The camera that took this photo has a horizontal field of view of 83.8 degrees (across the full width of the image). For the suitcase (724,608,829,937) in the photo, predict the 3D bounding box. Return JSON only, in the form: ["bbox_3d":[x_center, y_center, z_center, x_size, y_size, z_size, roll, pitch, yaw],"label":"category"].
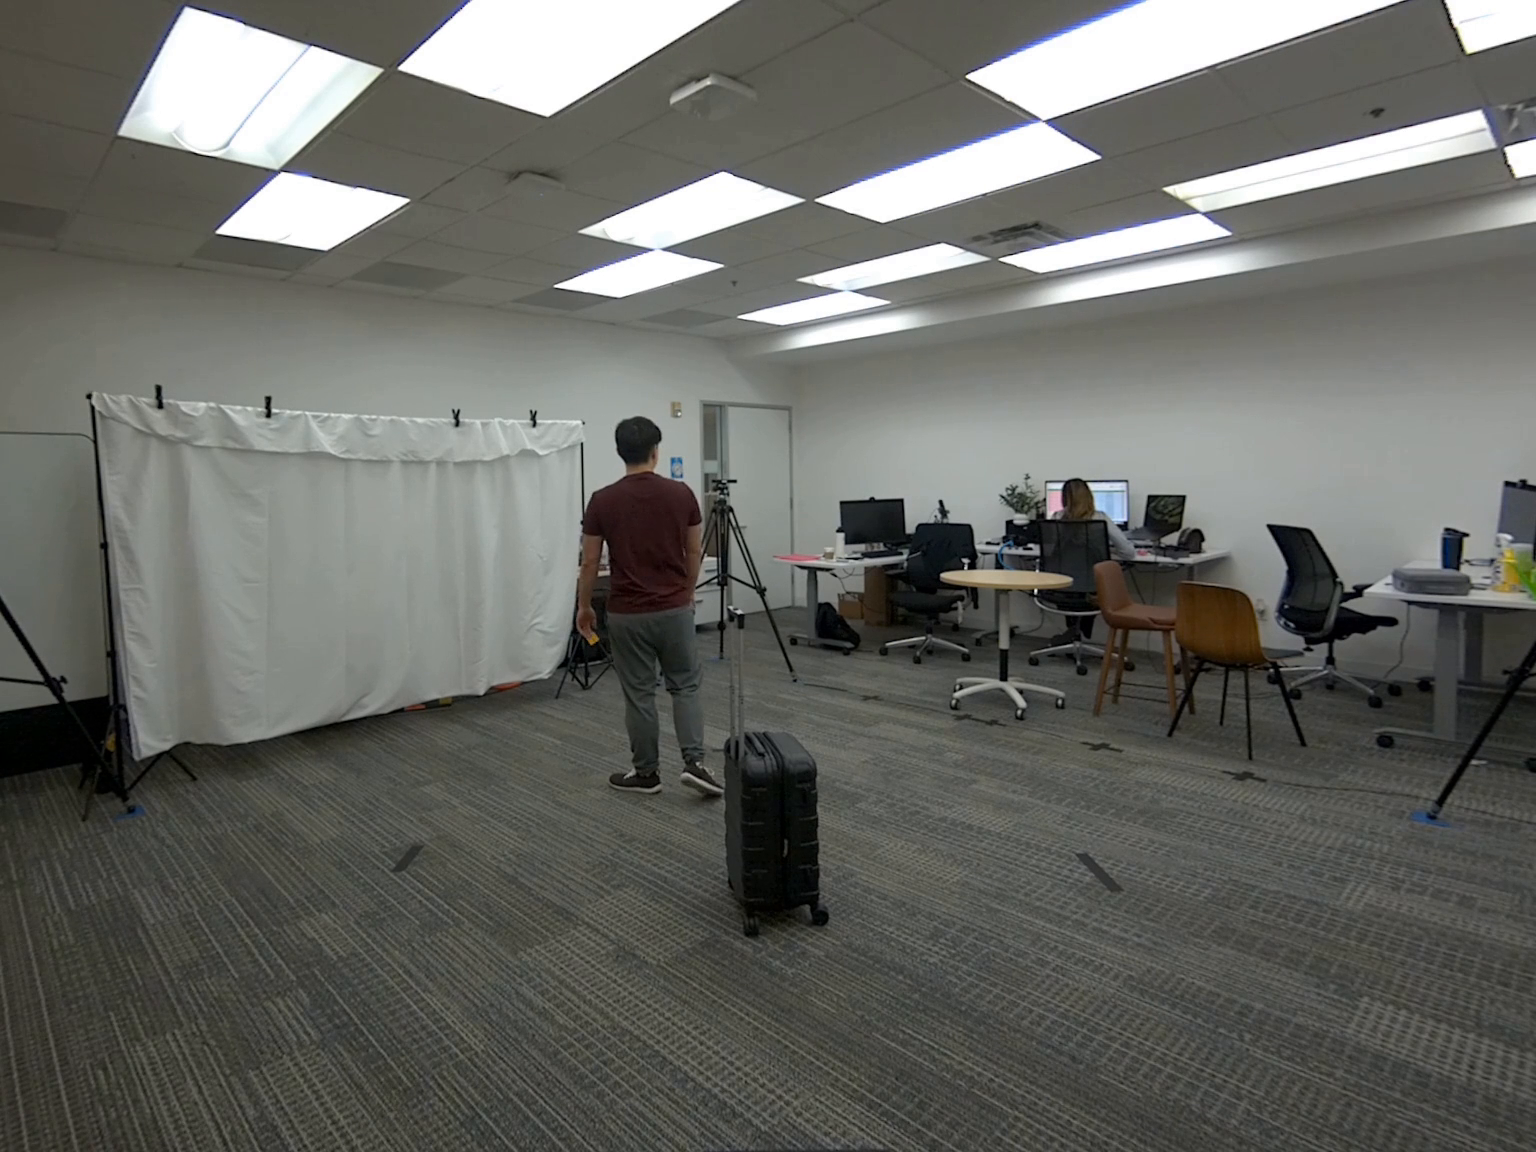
[{"bbox_3d":[0.007,0.601,2.784,0.254,0.975,0.389,1,4,-12],"label":"suitcase"}]
